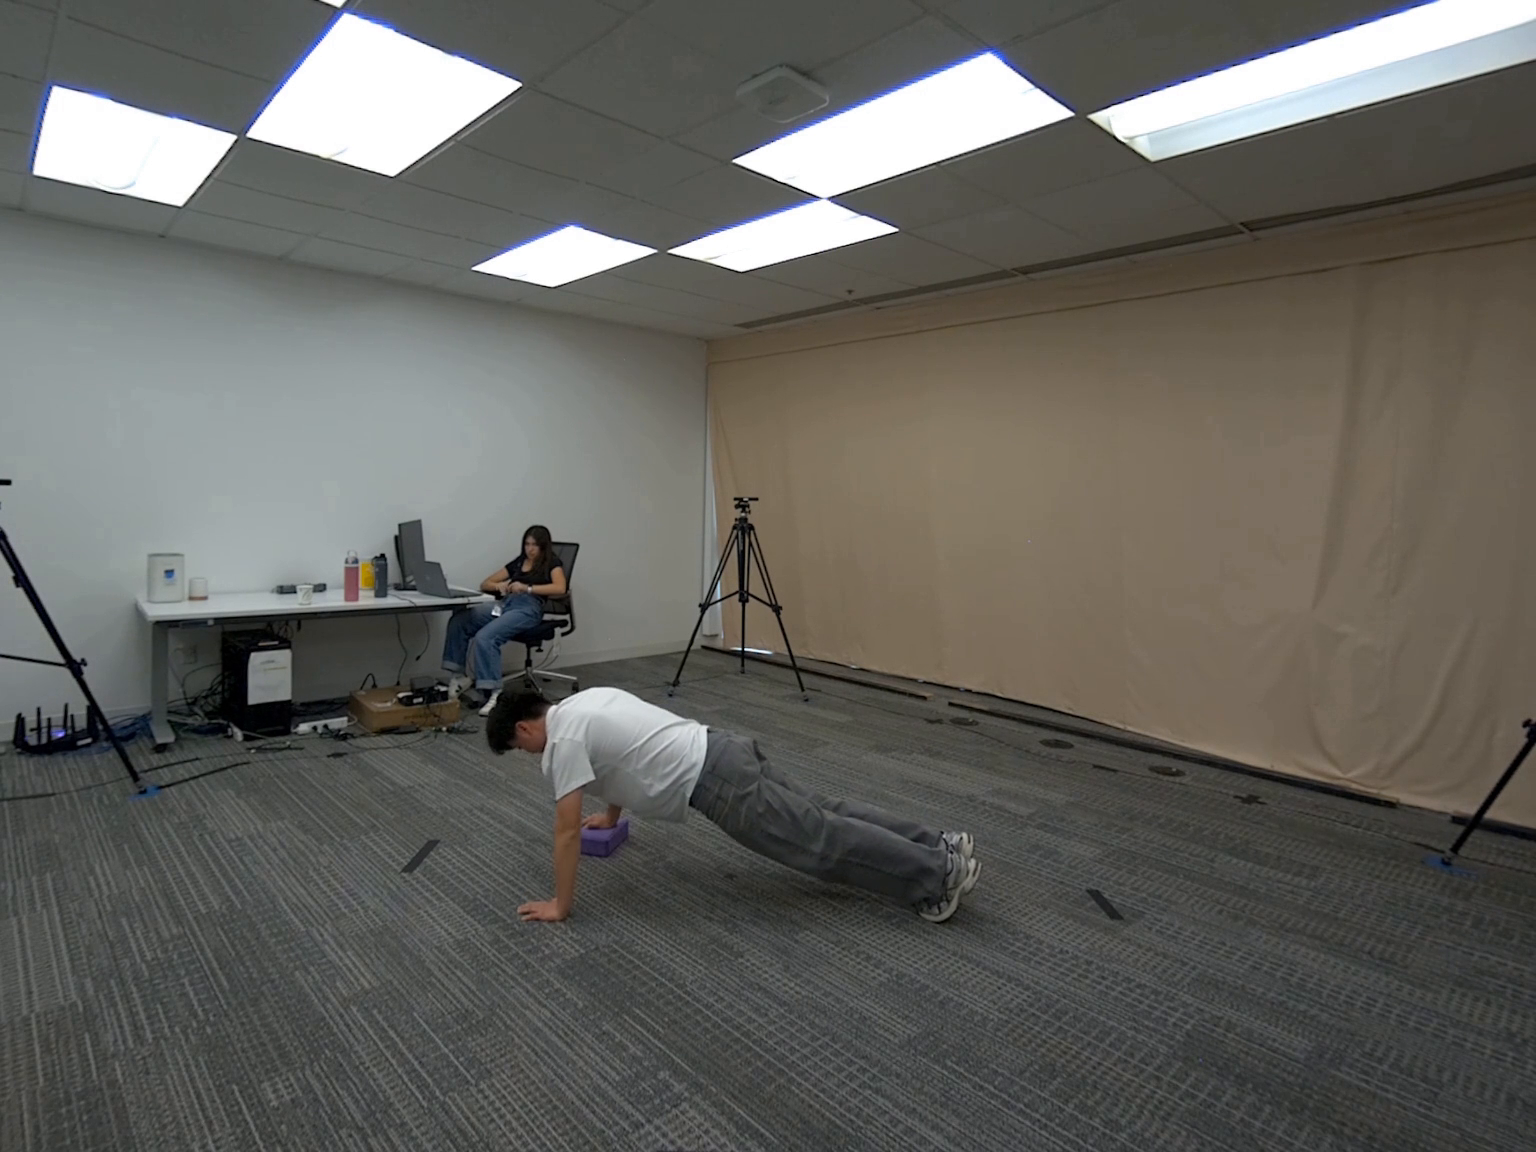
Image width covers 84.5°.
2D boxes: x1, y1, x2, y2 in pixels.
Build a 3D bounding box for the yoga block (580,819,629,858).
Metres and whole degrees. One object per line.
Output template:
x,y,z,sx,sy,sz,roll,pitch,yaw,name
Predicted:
-0.675,1.041,3.361,0.151,0.076,0.227,4,6,13,yoga block
